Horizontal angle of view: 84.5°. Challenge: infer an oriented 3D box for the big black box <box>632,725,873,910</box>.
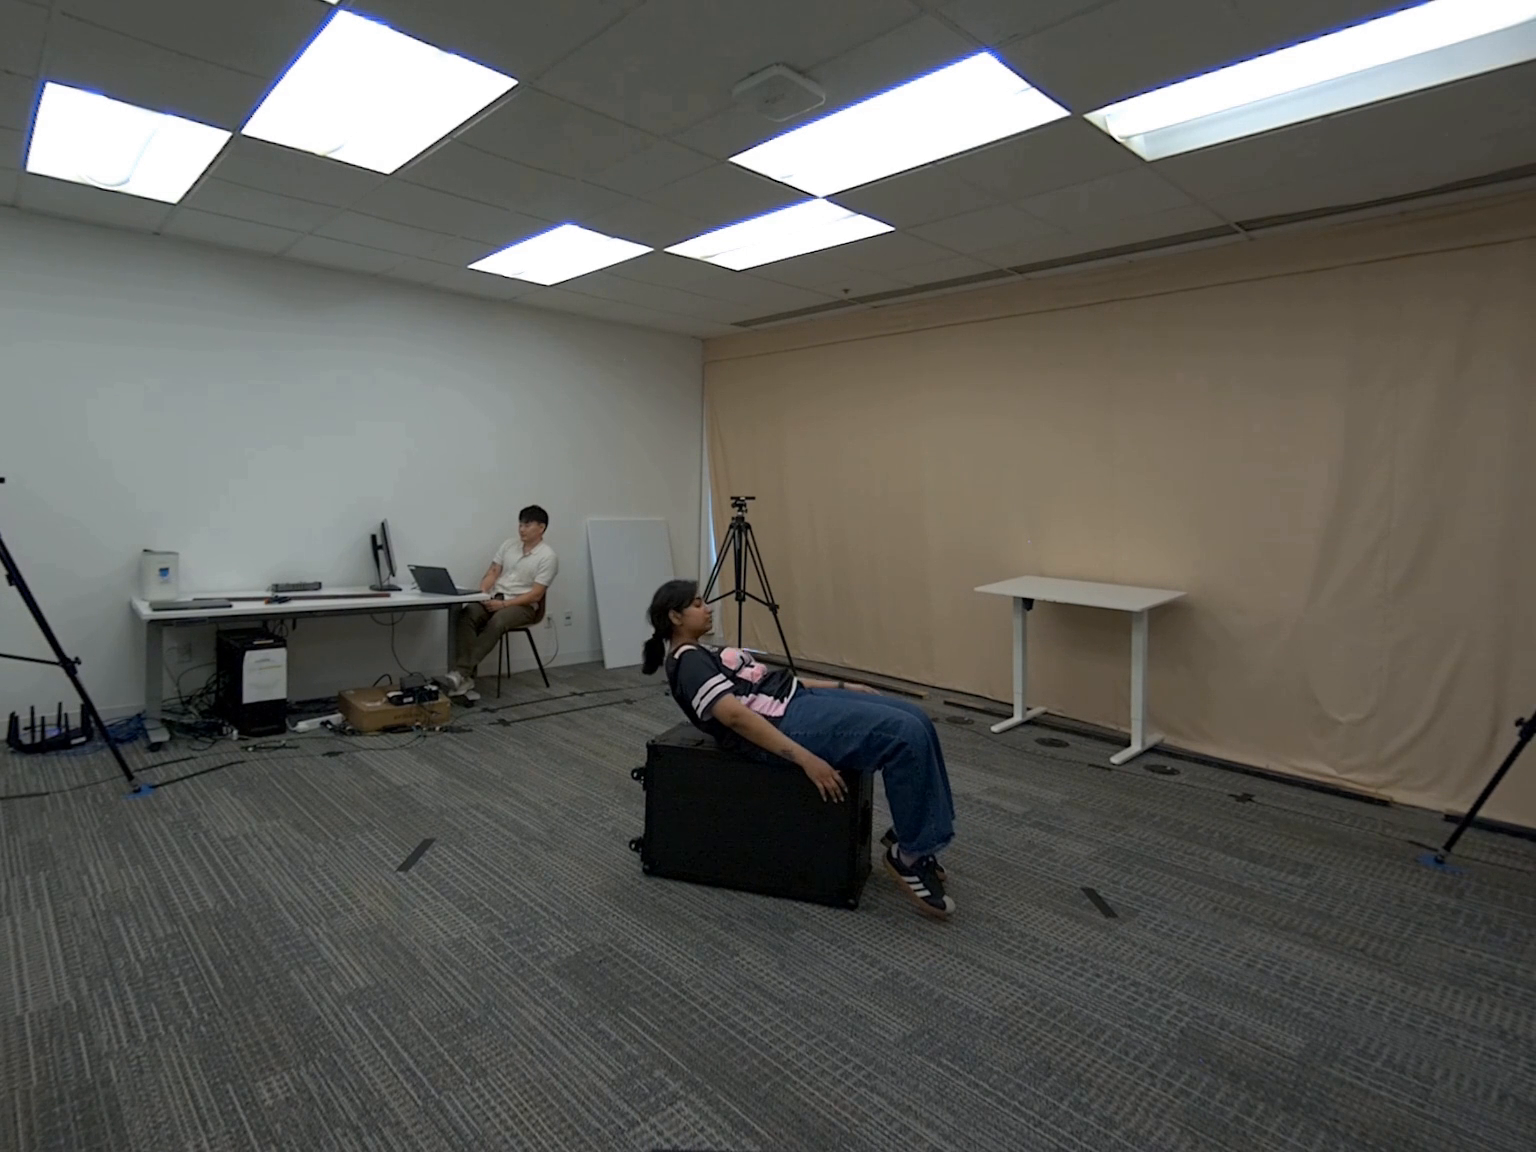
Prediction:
[{"bbox_3d":[-0.067,0.842,3.128,0.881,0.522,0.381,3,5,18],"label":"big black box"}]
